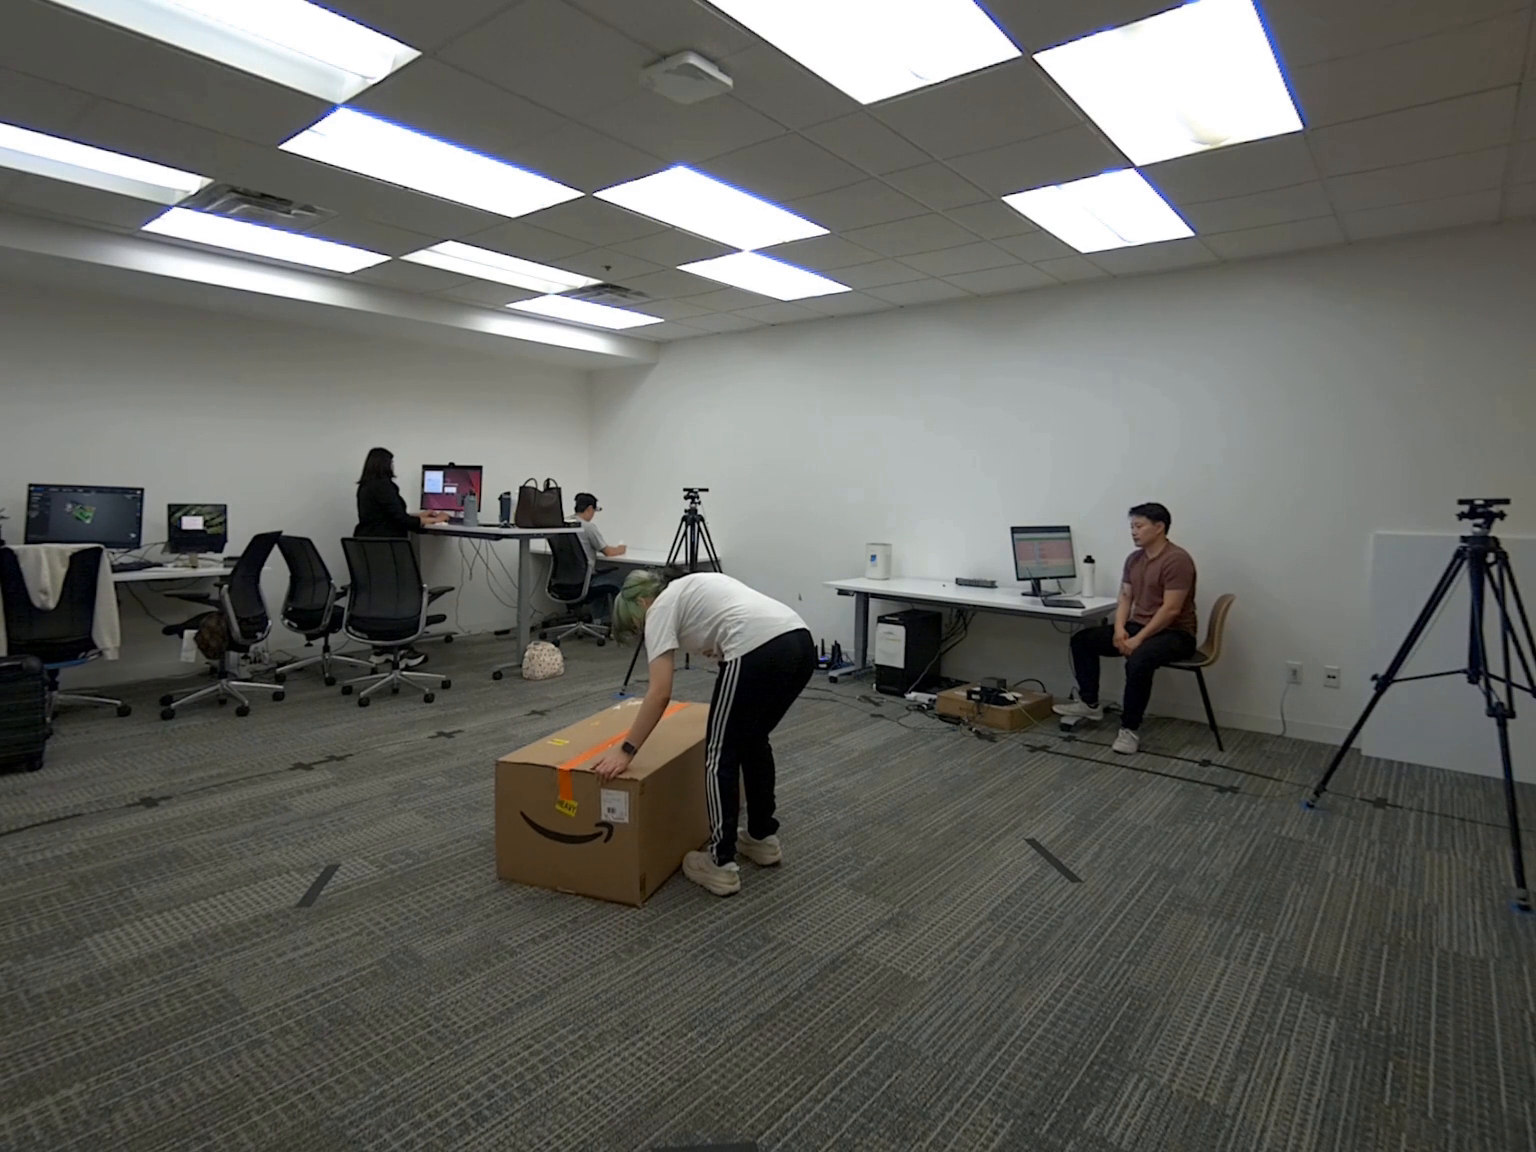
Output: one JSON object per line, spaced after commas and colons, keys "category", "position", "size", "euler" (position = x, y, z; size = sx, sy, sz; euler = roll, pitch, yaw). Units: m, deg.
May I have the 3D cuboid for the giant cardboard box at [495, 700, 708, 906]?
{"category": "giant cardboard box", "position": [-0.543, 0.820, 3.363], "size": [0.590, 0.425, 1.008], "euler": [1, 5, 19]}
